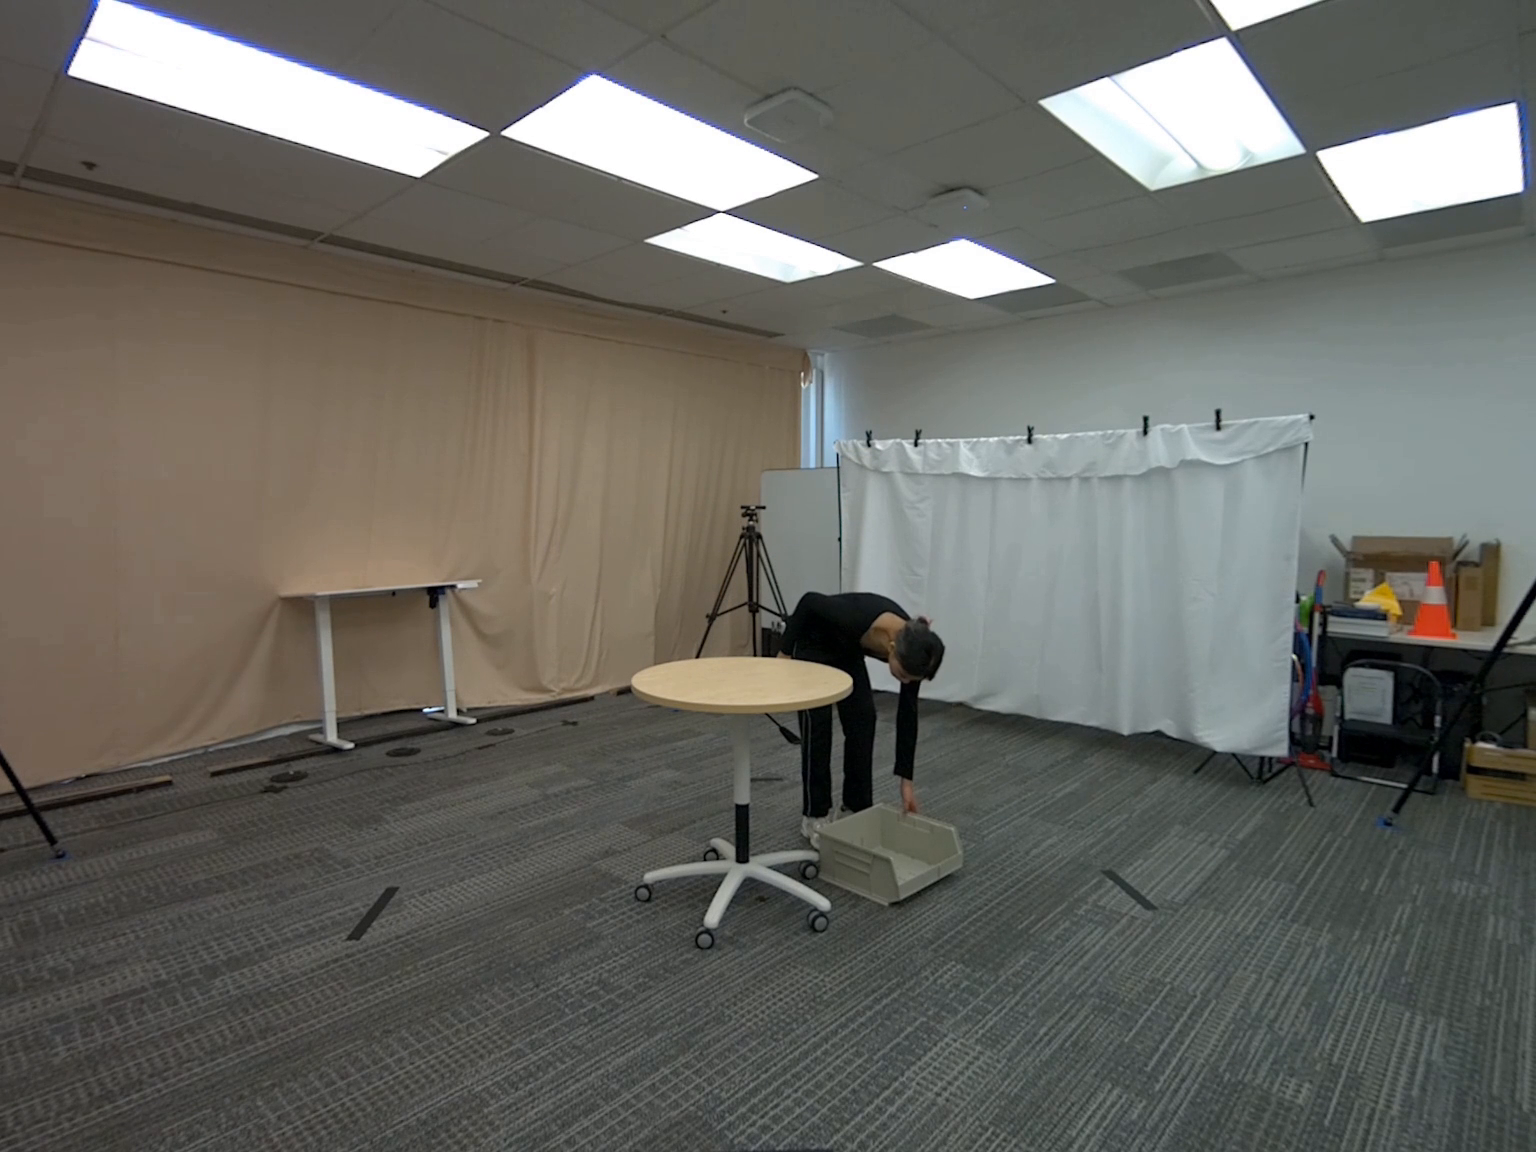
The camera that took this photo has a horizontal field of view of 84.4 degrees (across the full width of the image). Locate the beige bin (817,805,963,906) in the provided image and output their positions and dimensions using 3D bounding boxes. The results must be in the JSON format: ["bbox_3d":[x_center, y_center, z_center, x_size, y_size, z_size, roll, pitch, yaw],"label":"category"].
[{"bbox_3d":[0.460,1.041,3.157,0.390,0.188,0.409,3,5,44],"label":"beige bin"}]
